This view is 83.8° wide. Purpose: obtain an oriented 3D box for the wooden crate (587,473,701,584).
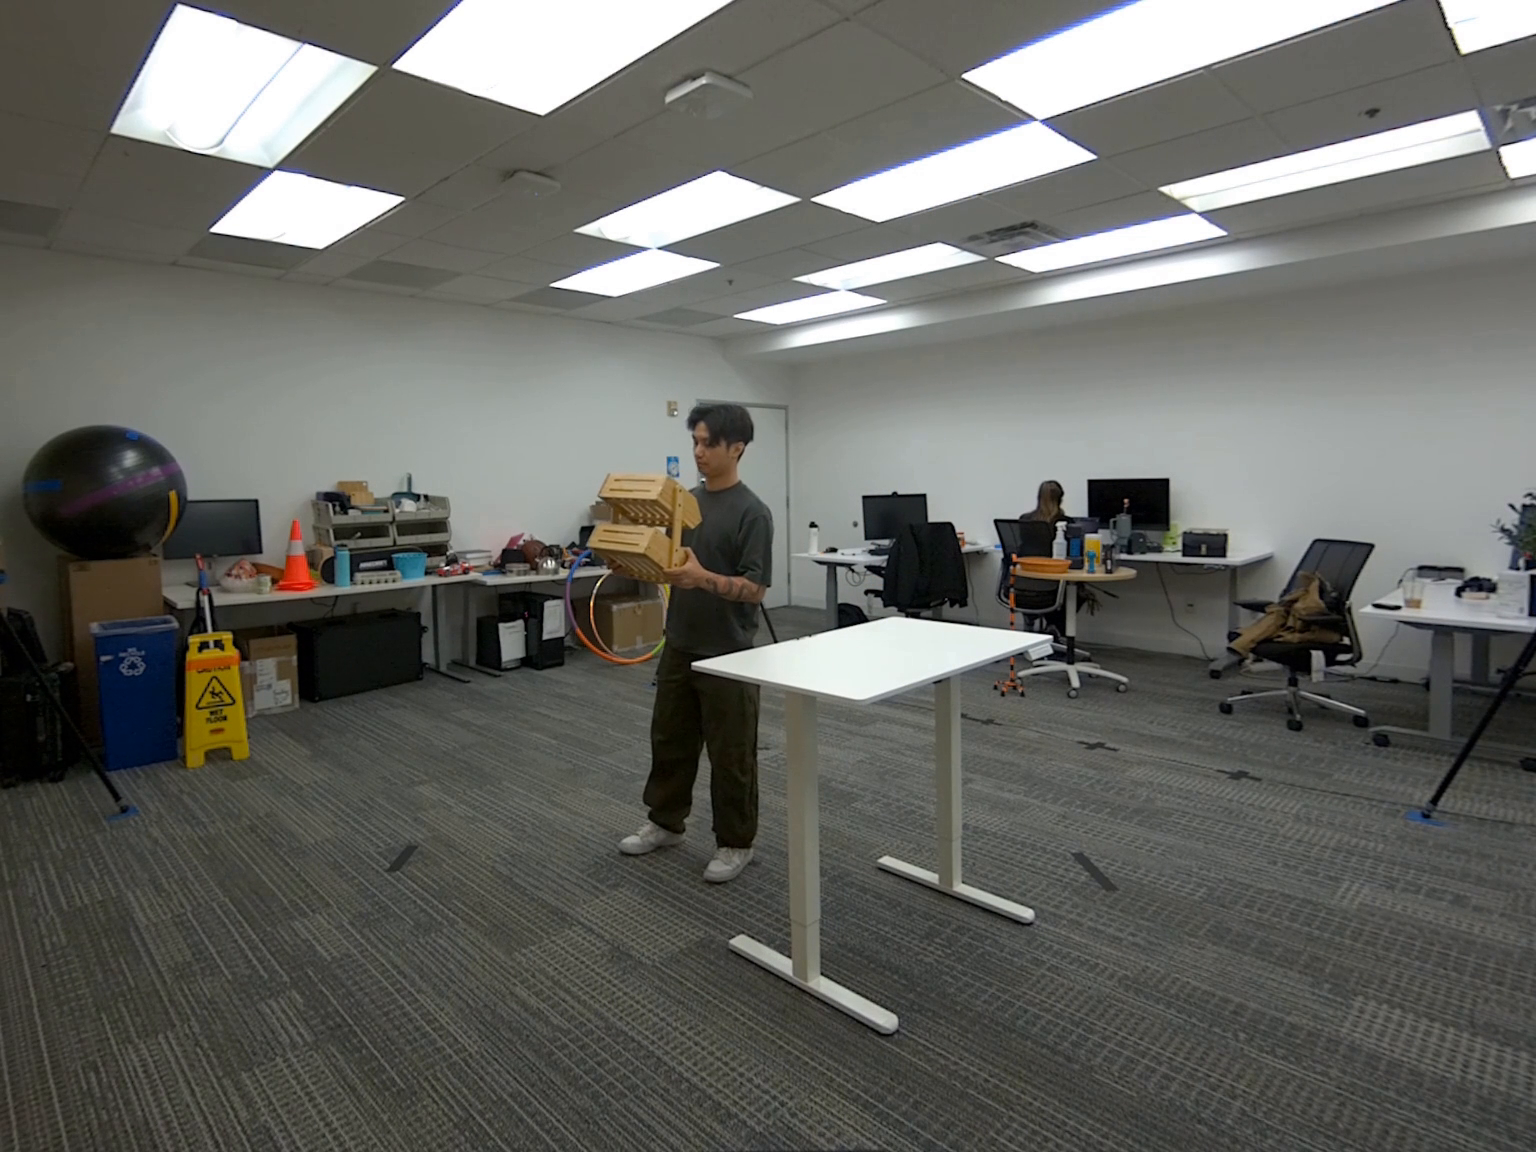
[{"bbox_3d":[-0.393,-0.158,2.872,0.335,0.275,0.290,7,-24,42],"label":"wooden crate"}]
